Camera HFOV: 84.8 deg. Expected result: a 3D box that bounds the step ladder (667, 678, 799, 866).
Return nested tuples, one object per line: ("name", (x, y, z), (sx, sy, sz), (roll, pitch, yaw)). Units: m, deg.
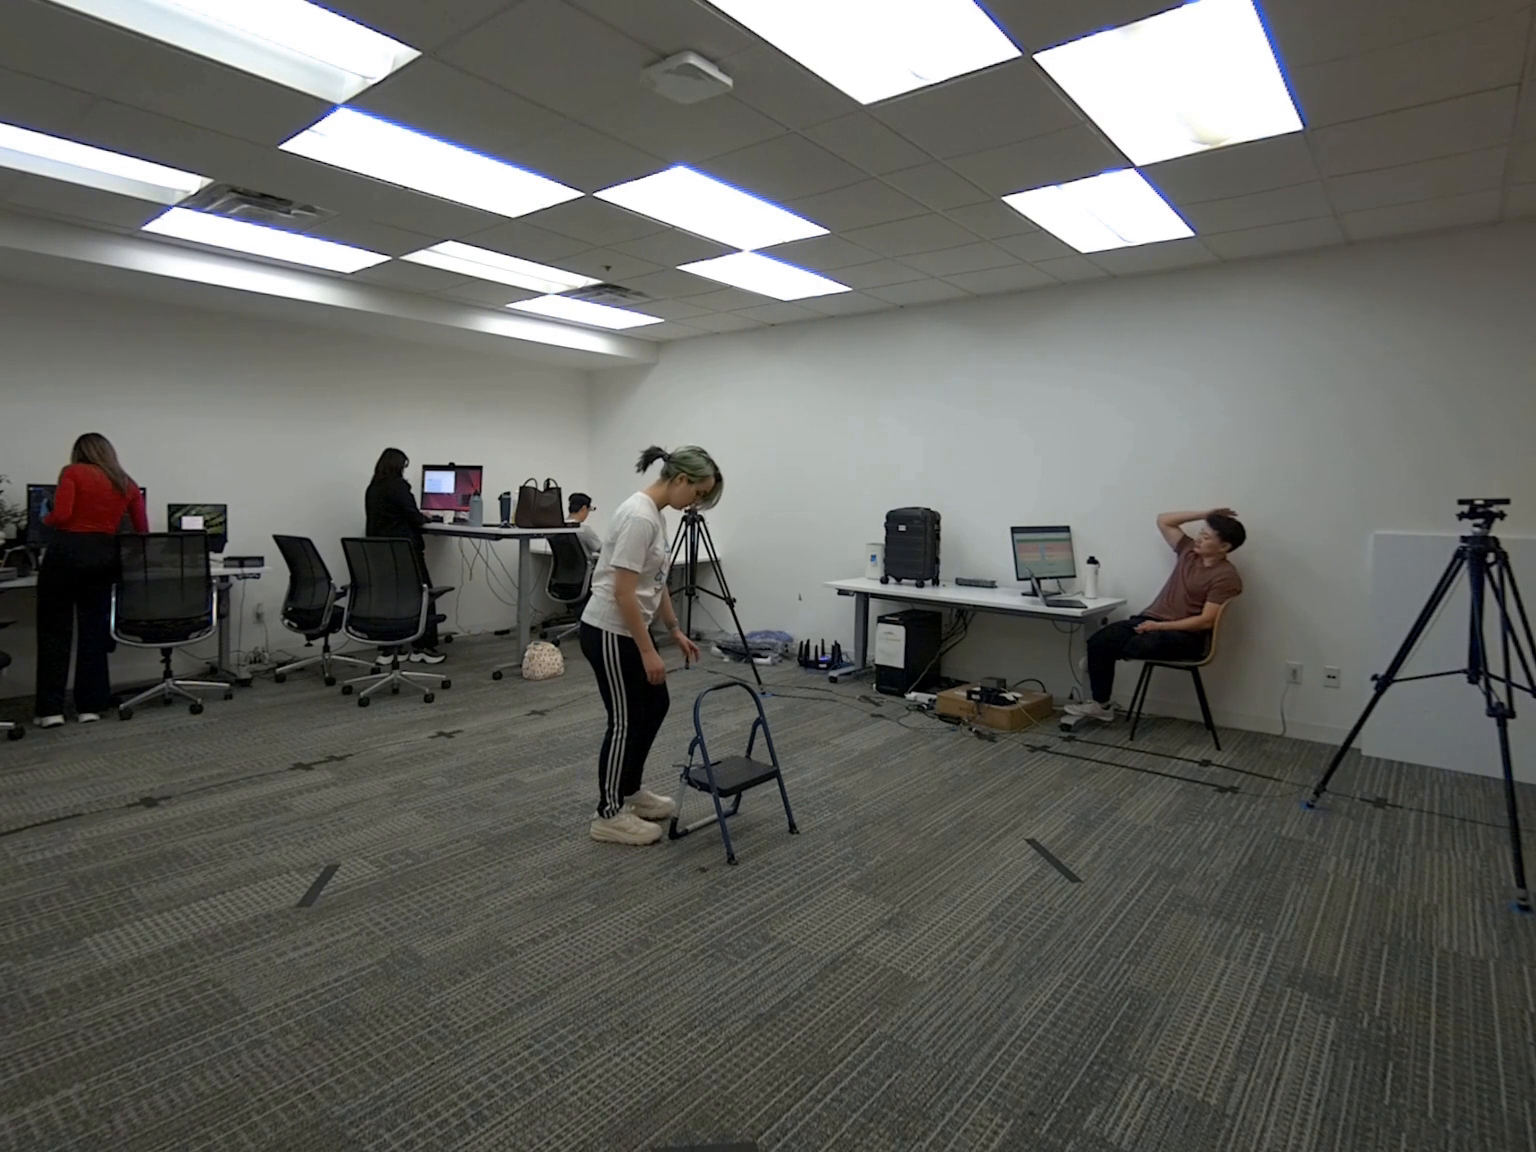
("step ladder", (-0.139, 0.740, 3.396), (0.361, 0.604, 0.418), (4, 4, 39))
